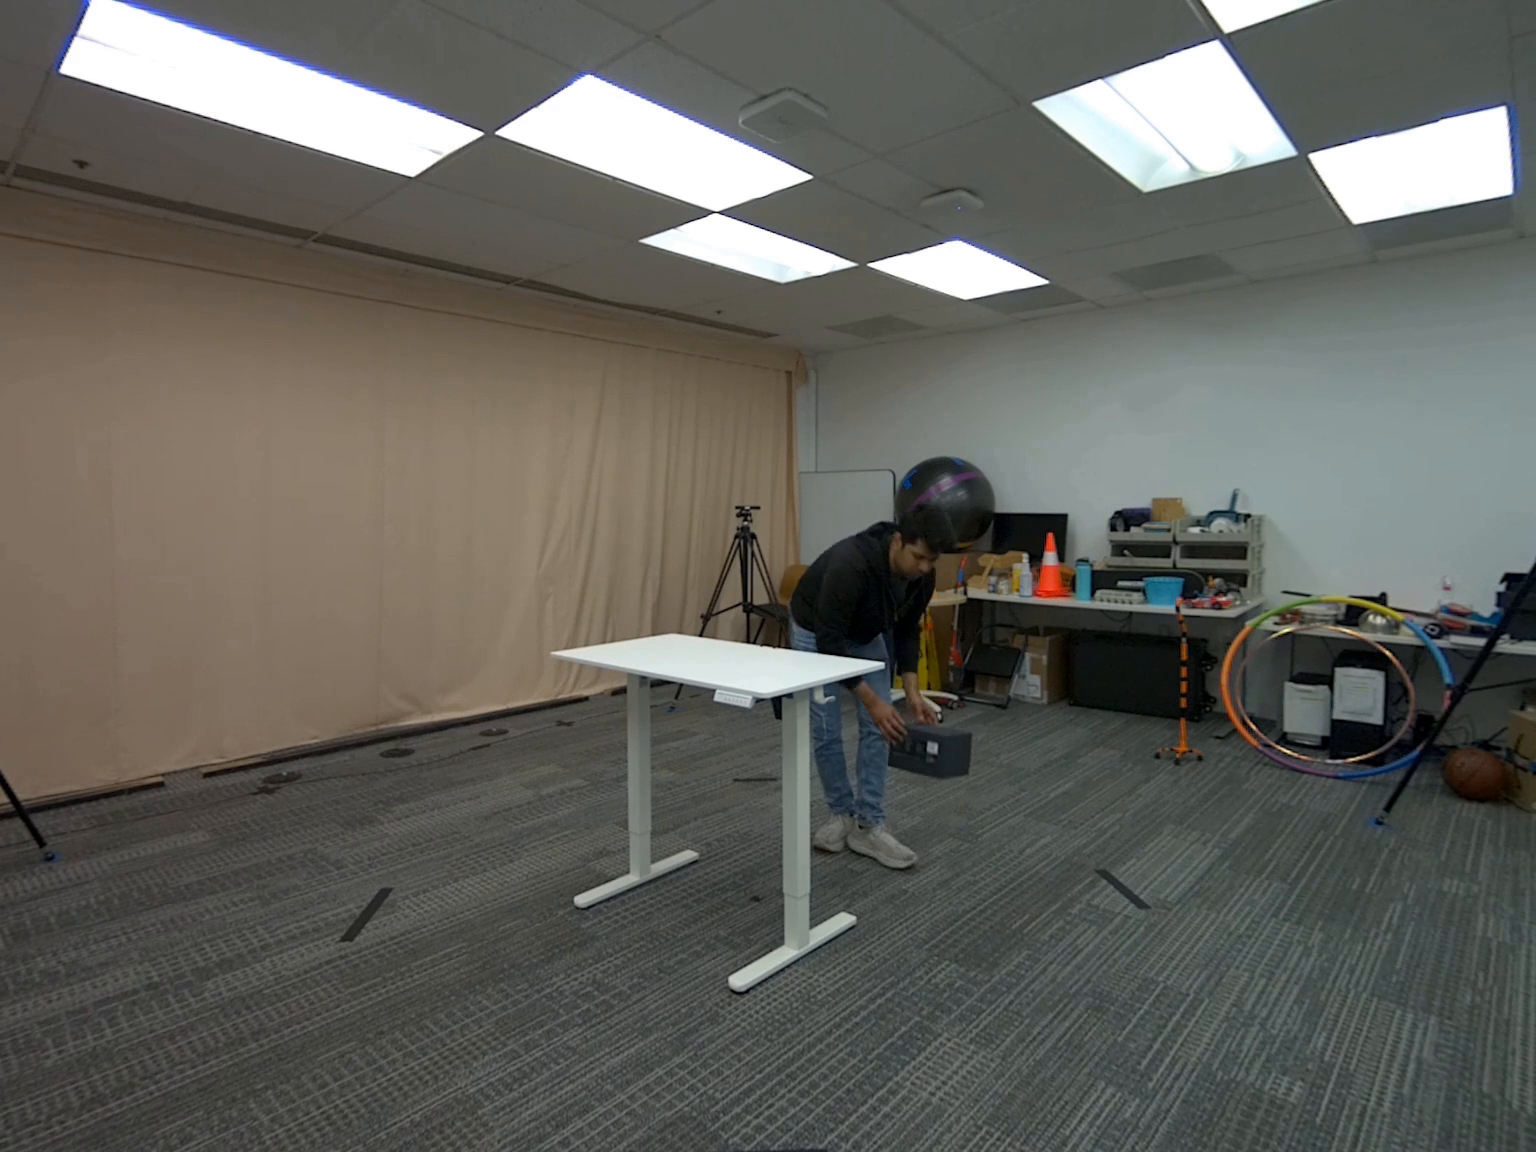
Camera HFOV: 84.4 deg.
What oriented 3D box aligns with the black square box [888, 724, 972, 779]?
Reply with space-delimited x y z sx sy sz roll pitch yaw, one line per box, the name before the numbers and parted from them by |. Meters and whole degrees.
black square box | 0.603 0.639 3.107 0.224 0.156 0.220 3 -3 41
